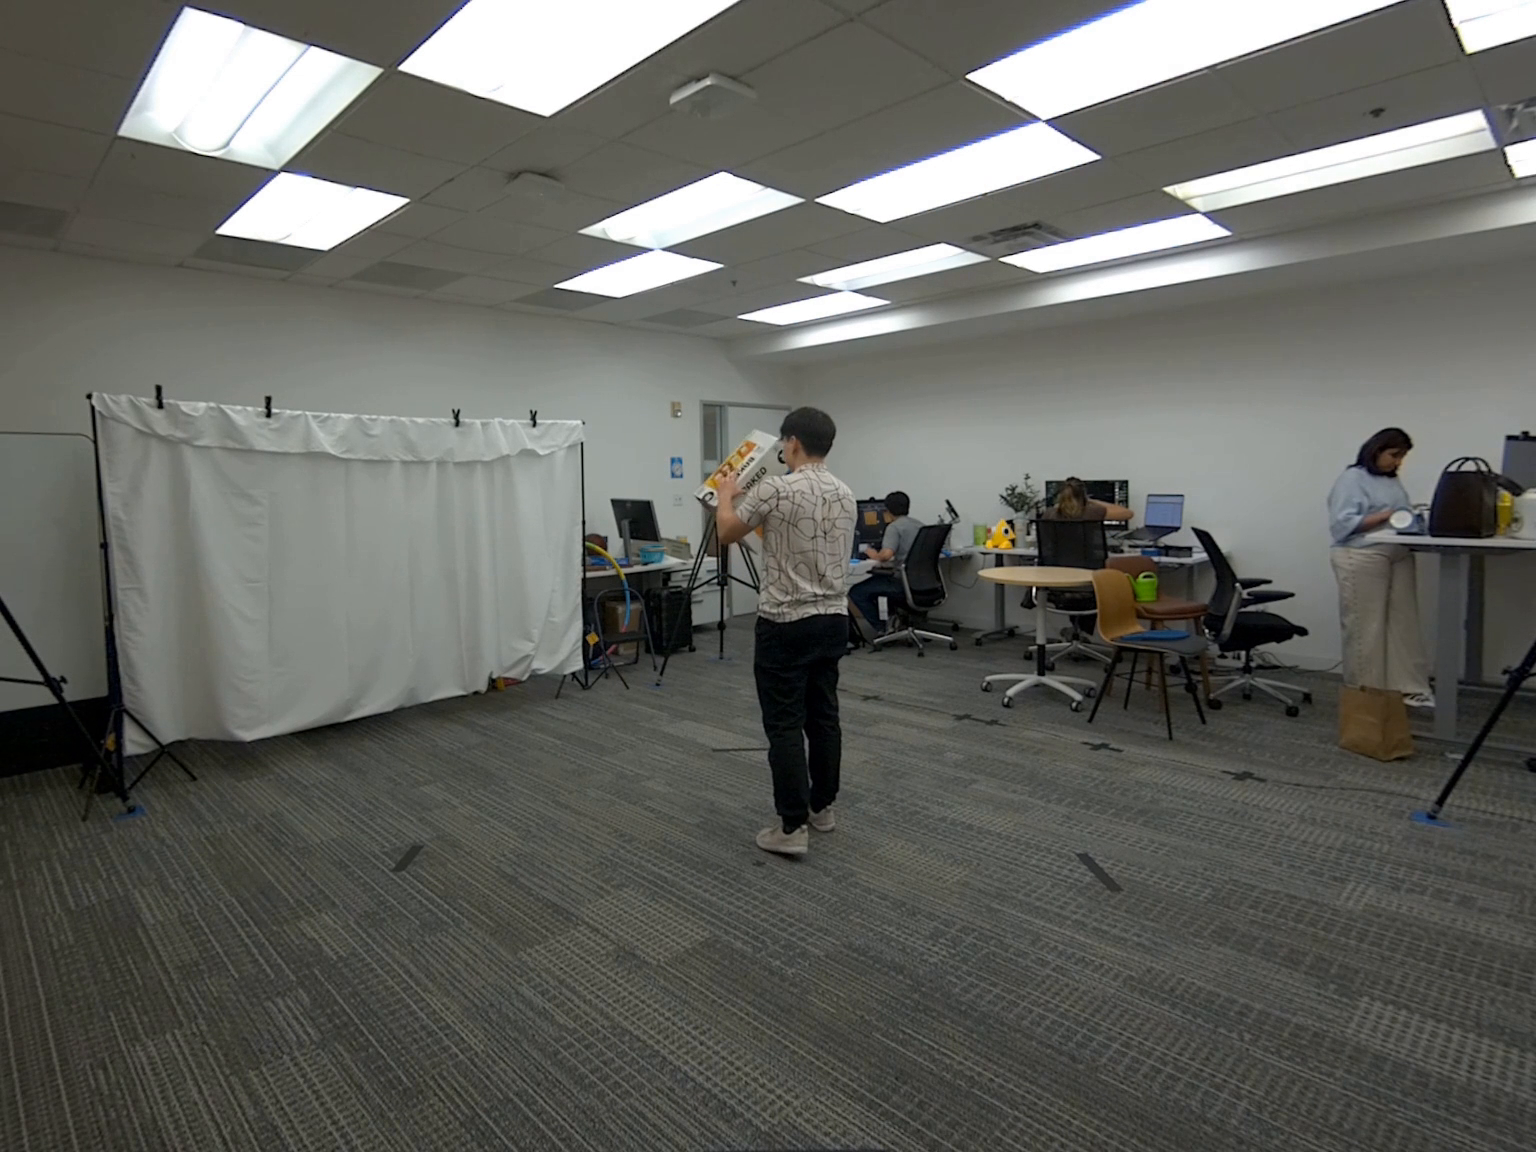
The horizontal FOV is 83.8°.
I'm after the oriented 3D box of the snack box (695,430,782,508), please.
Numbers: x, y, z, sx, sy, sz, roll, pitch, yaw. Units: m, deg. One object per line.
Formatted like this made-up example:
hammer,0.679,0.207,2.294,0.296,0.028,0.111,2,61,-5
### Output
snack box,-0.057,-0.371,3.802,0.213,0.405,0.328,31,-14,52
